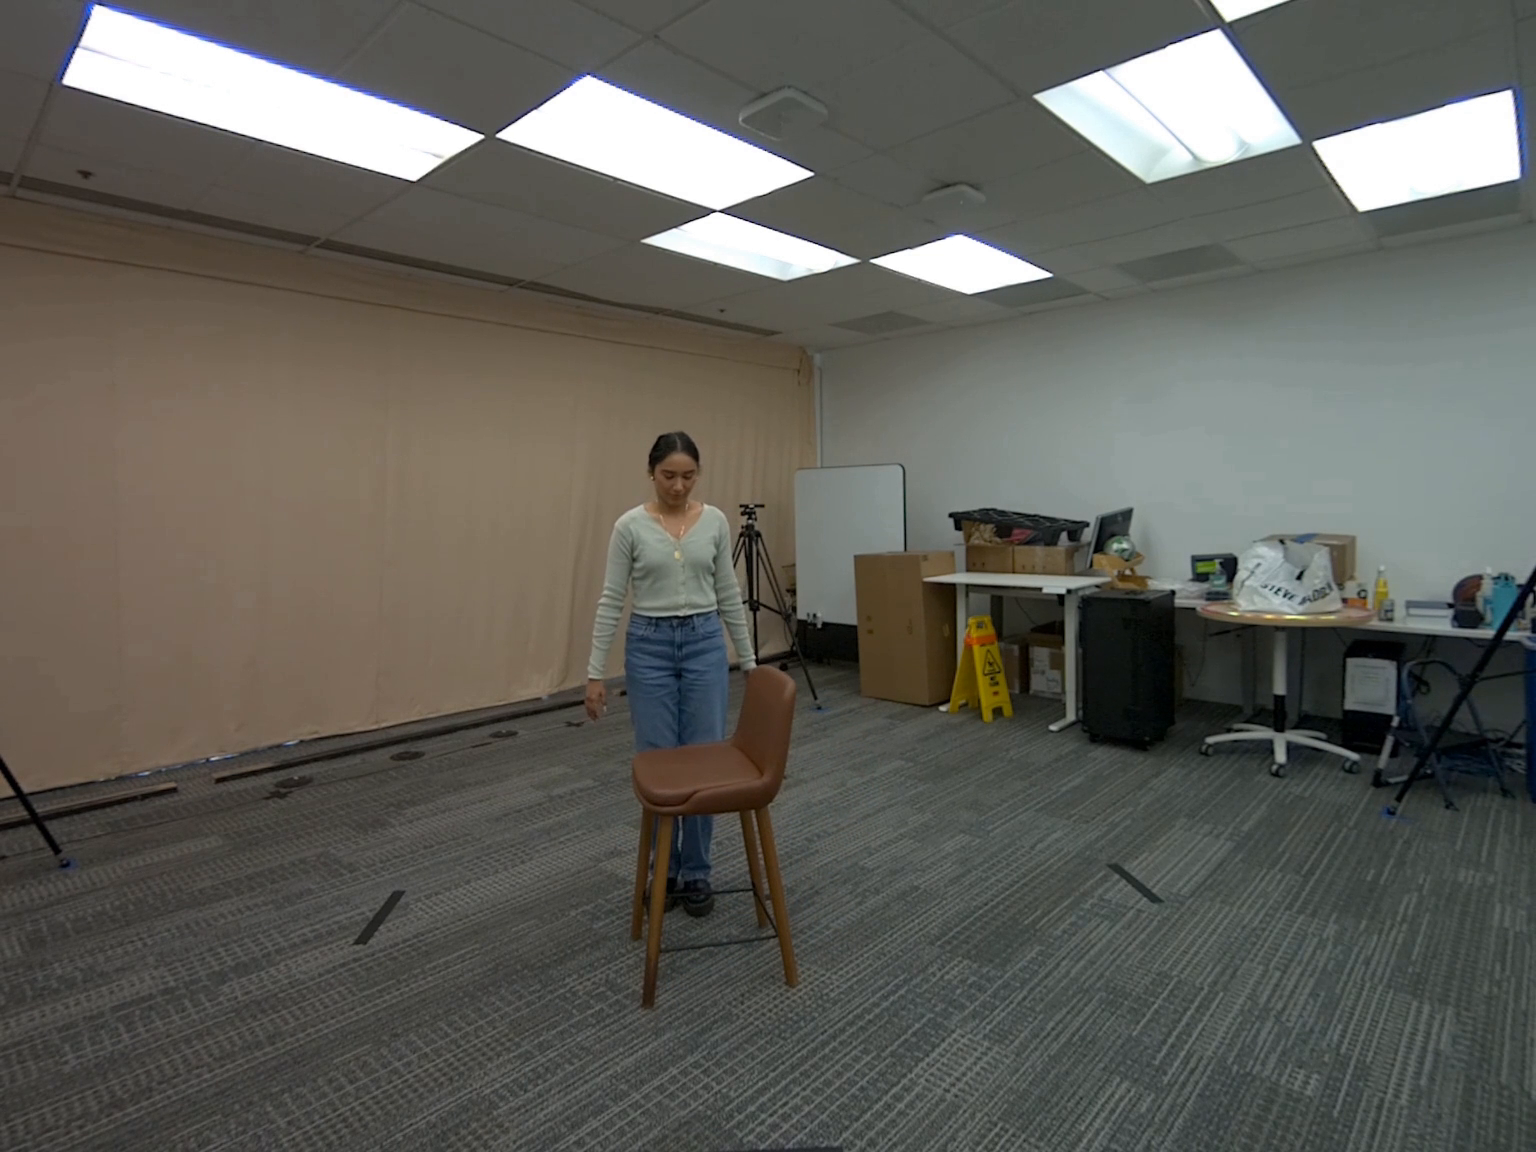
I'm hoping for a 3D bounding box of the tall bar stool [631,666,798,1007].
[{"bbox_3d":[-0.174,0.747,2.548,0.461,0.888,0.464,0,3,-14],"label":"tall bar stool"}]
